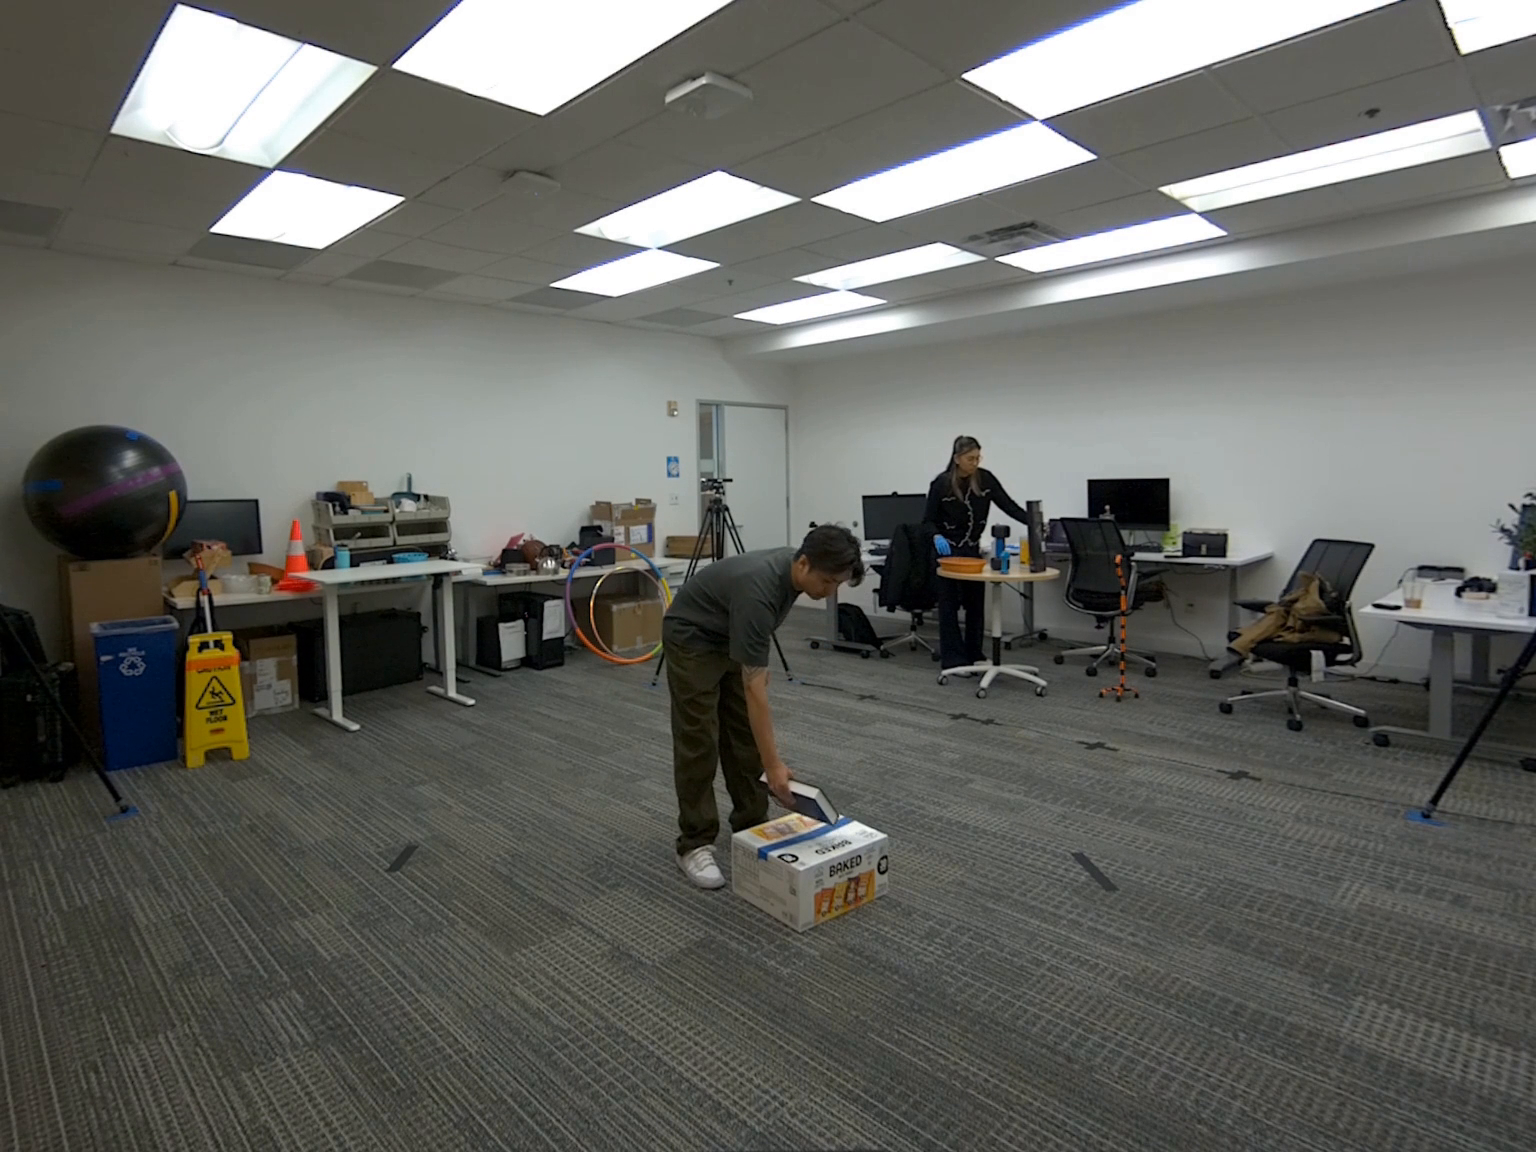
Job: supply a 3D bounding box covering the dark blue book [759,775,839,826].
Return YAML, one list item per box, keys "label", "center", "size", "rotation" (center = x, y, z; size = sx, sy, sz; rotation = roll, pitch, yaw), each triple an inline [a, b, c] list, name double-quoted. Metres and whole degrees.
- label: "dark blue book"
  center: [0.114, 0.741, 2.845]
  size: [0.252, 0.158, 0.045]
  rotation: [4, 45, 47]
